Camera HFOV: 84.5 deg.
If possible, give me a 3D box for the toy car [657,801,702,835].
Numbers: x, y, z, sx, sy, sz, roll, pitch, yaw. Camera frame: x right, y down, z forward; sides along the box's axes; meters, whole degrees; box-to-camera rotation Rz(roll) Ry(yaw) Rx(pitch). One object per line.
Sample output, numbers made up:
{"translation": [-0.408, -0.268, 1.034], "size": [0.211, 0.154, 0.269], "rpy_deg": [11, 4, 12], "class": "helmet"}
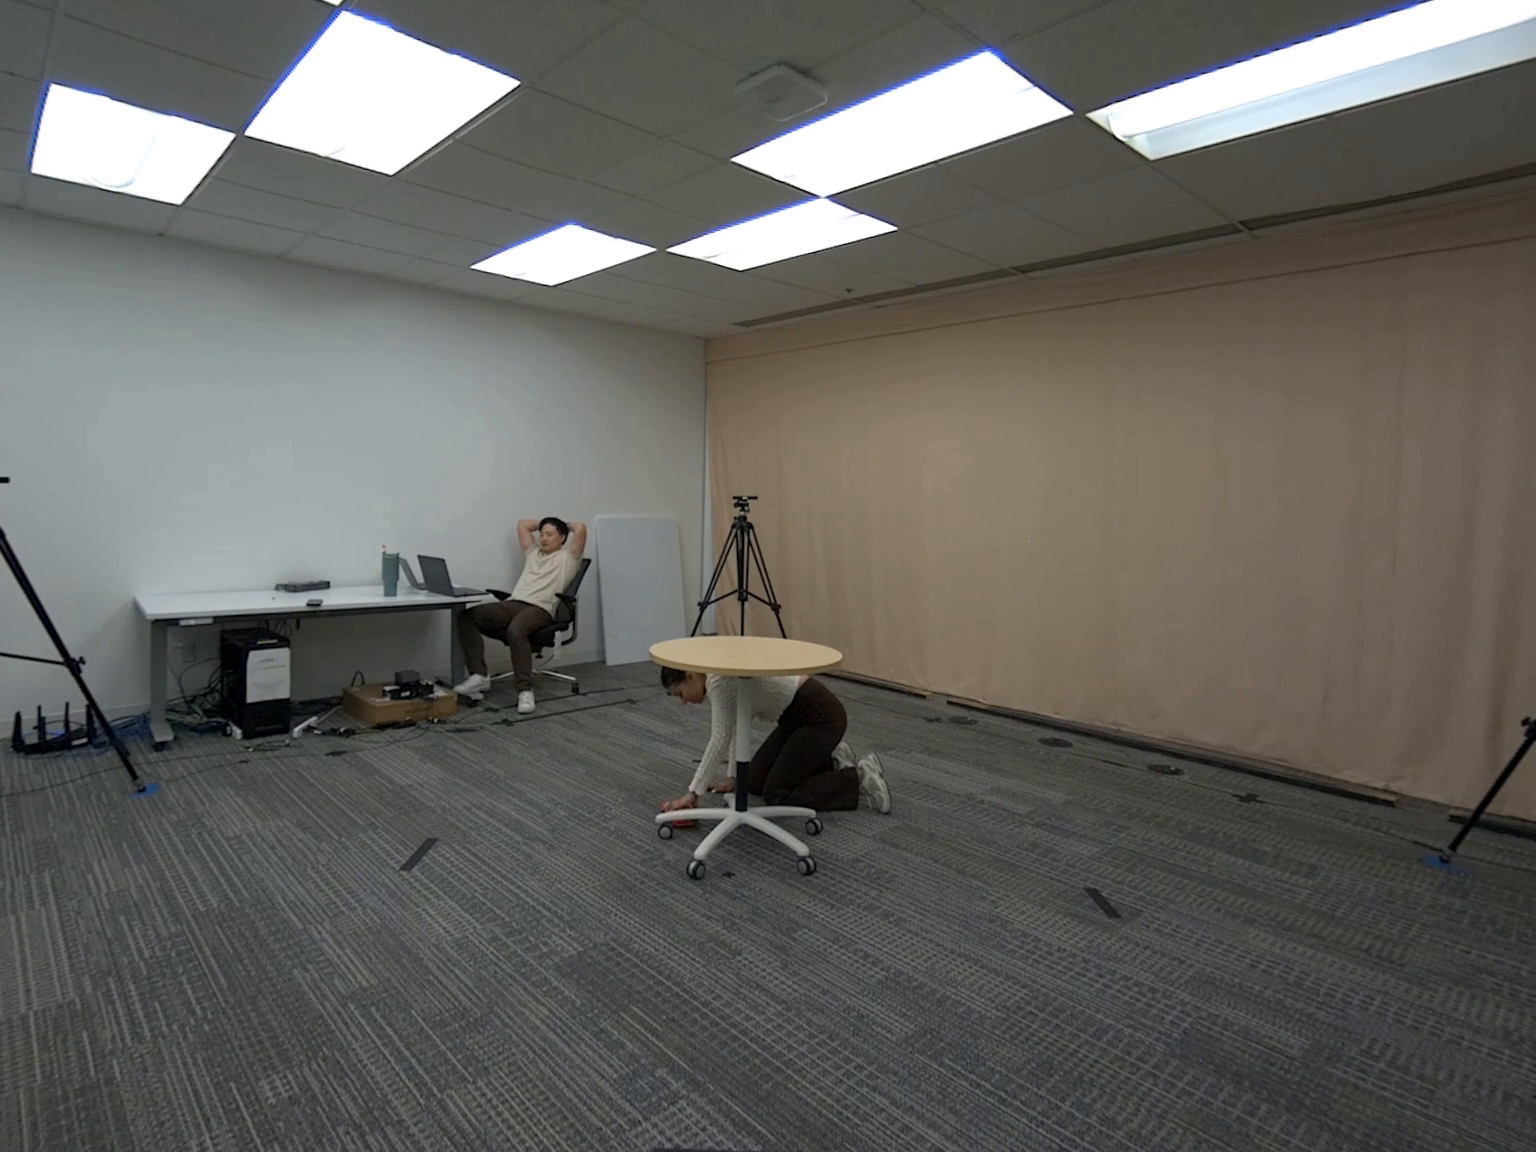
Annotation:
{"translation": [-0.382, 1.025, 3.610], "size": [0.128, 0.083, 0.257], "rpy_deg": [0, -5, -18], "class": "toy car"}
